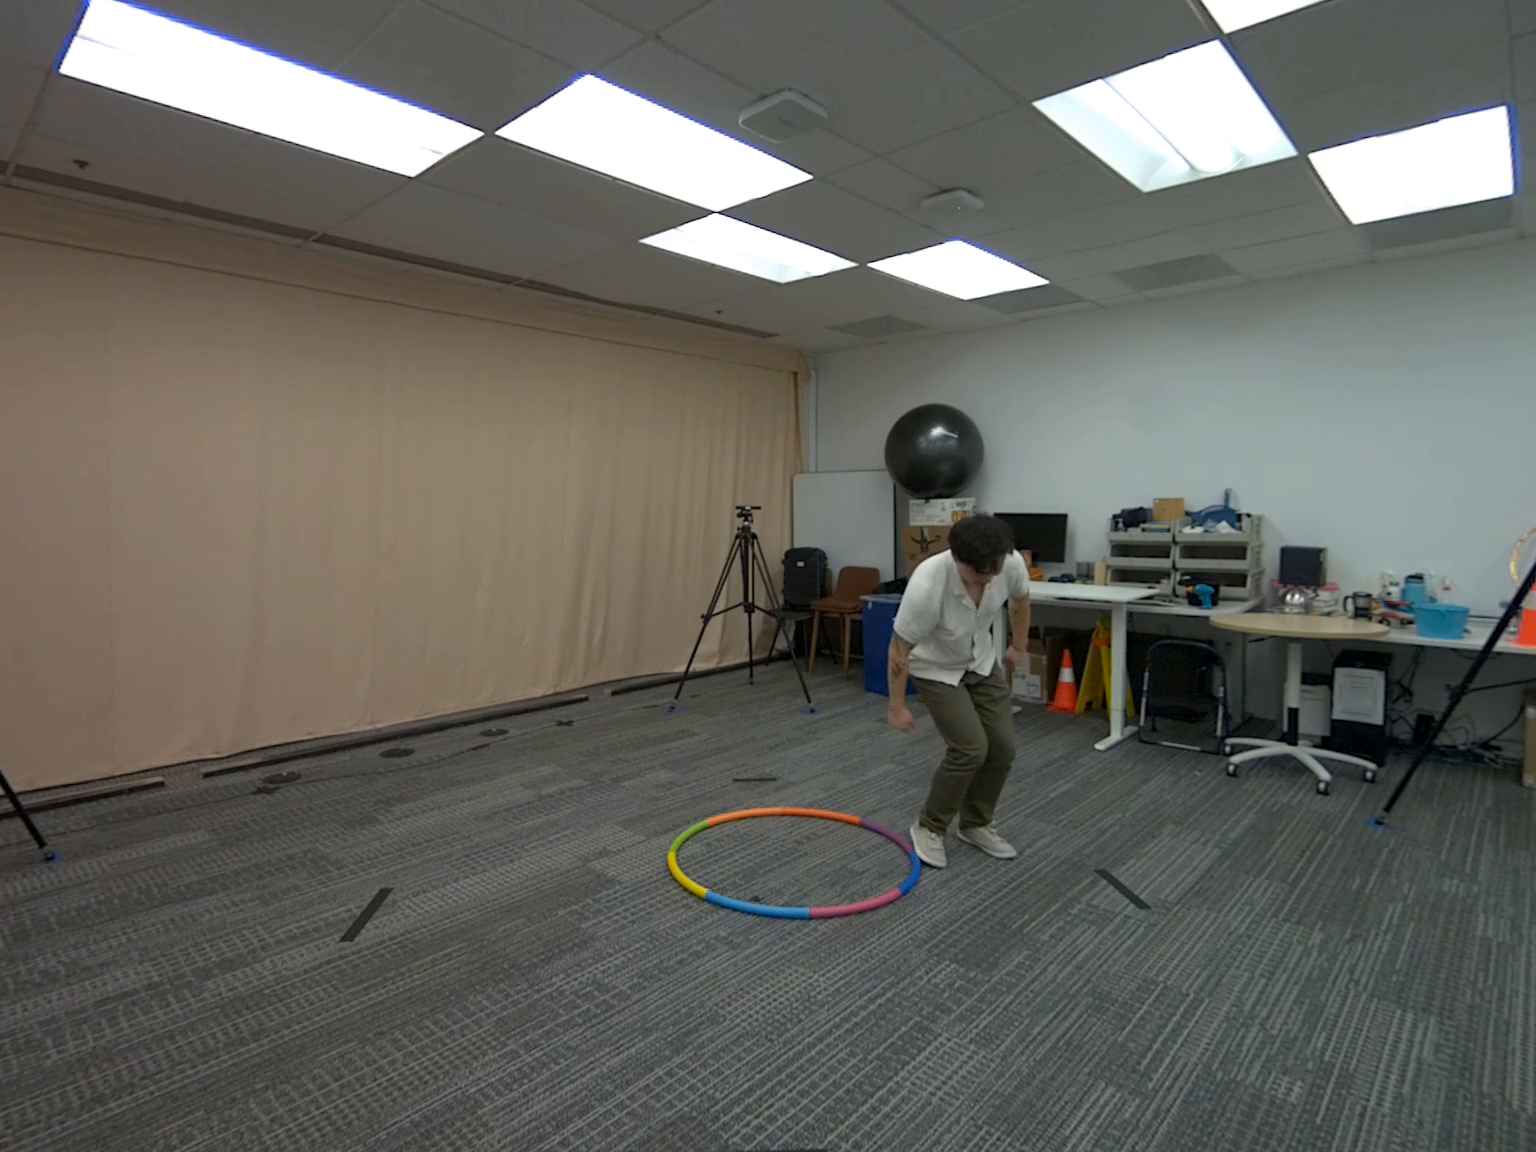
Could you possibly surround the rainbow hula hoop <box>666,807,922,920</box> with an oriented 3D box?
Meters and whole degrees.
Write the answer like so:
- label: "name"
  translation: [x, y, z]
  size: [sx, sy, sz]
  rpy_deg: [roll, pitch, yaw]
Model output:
- label: "rainbow hula hoop"
  translation: [0.100, 1.087, 3.315]
  size: [0.978, 0.035, 0.982]
  rpy_deg: [0, 5, -2]
